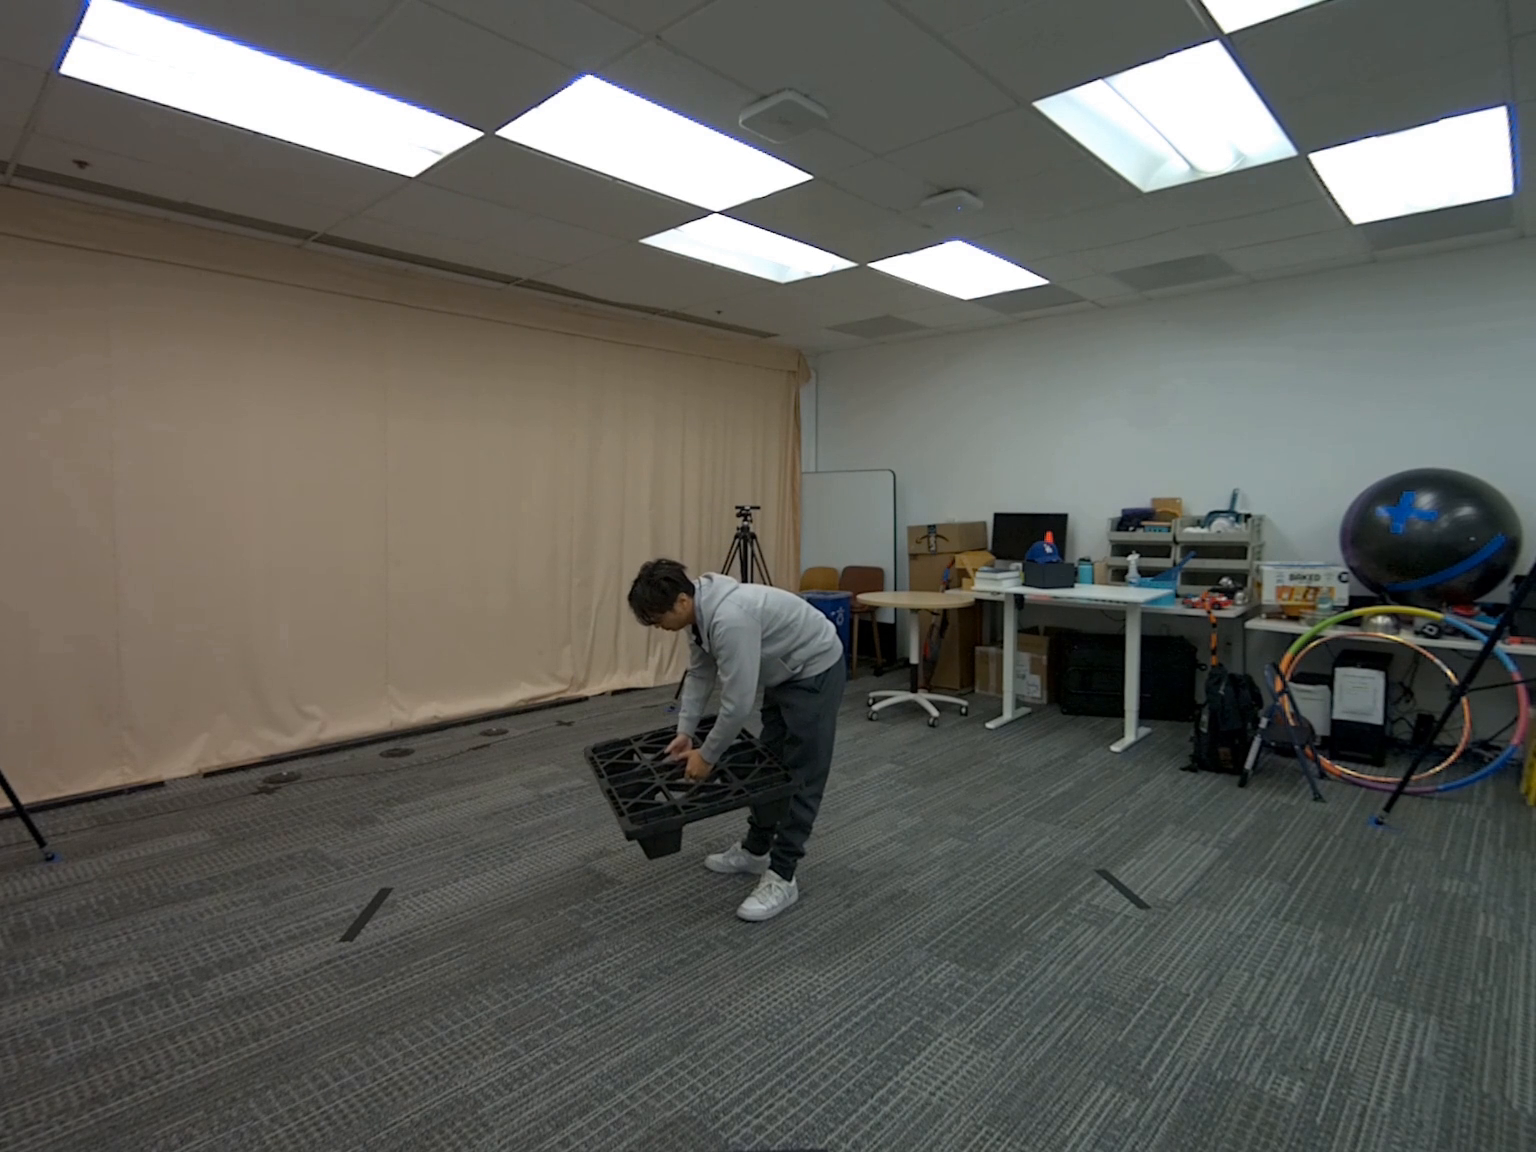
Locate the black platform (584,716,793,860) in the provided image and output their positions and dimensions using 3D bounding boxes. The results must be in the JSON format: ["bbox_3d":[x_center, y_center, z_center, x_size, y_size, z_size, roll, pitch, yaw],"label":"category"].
[{"bbox_3d":[-0.300,0.727,2.998,0.595,0.142,0.824,-12,11,-18],"label":"black platform"}]
